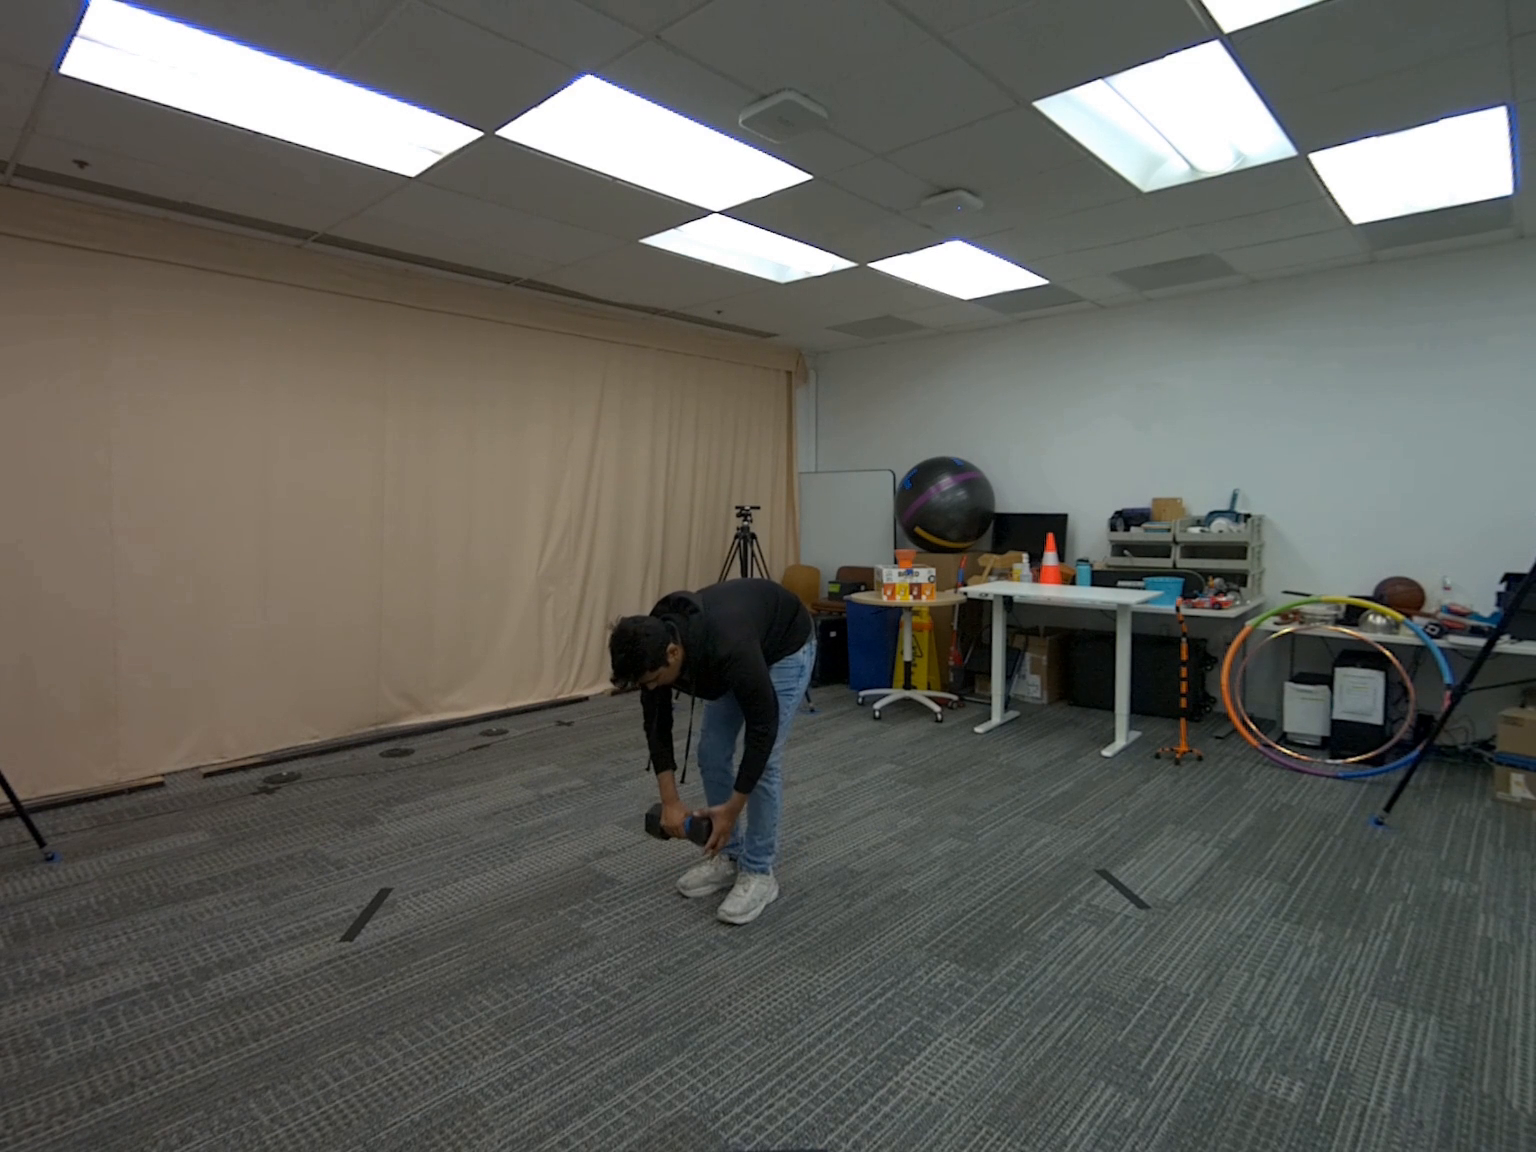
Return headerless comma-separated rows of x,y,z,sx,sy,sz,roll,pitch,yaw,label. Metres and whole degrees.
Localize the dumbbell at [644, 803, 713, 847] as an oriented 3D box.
-0.282,0.850,2.859,0.302,0.109,0.119,-4,-38,37,dumbbell
